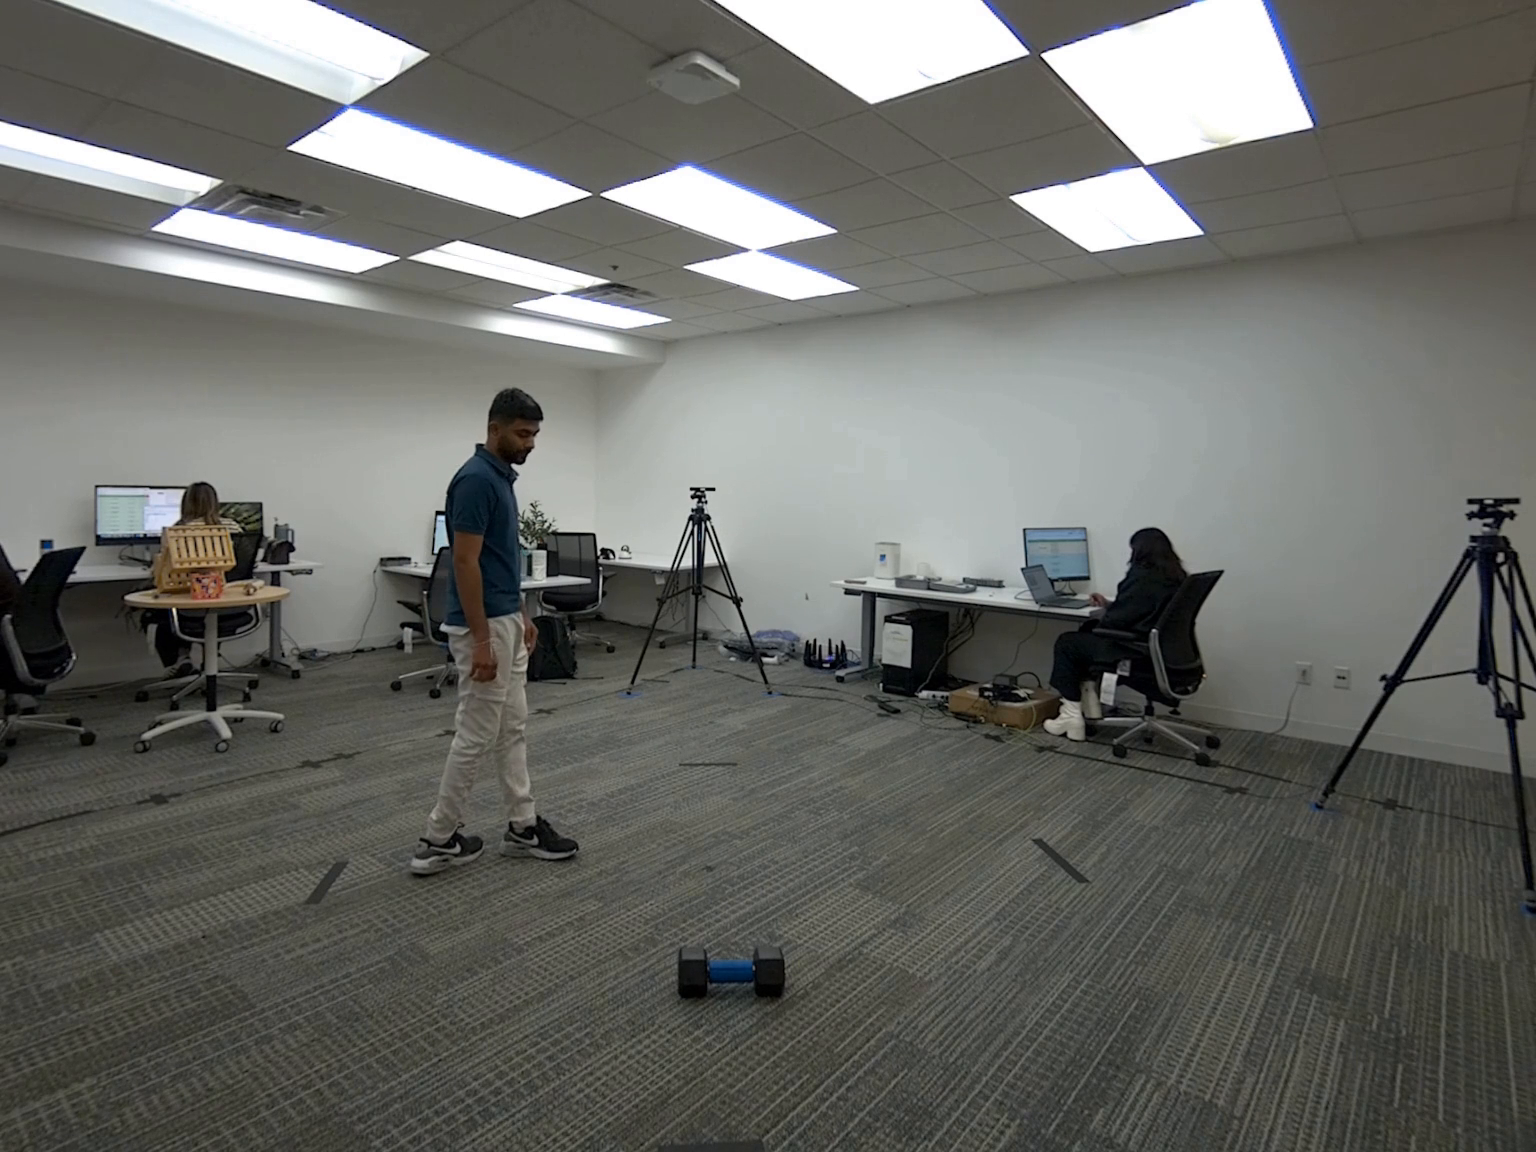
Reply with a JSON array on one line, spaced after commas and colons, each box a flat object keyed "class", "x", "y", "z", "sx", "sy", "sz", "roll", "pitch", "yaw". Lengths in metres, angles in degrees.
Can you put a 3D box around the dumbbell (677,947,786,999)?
[{"class": "dumbbell", "x": -0.104, "y": 1.091, "z": 2.351, "sx": 0.292, "sy": 0.120, "sz": 0.112, "roll": 1, "pitch": 34, "yaw": -4}]
